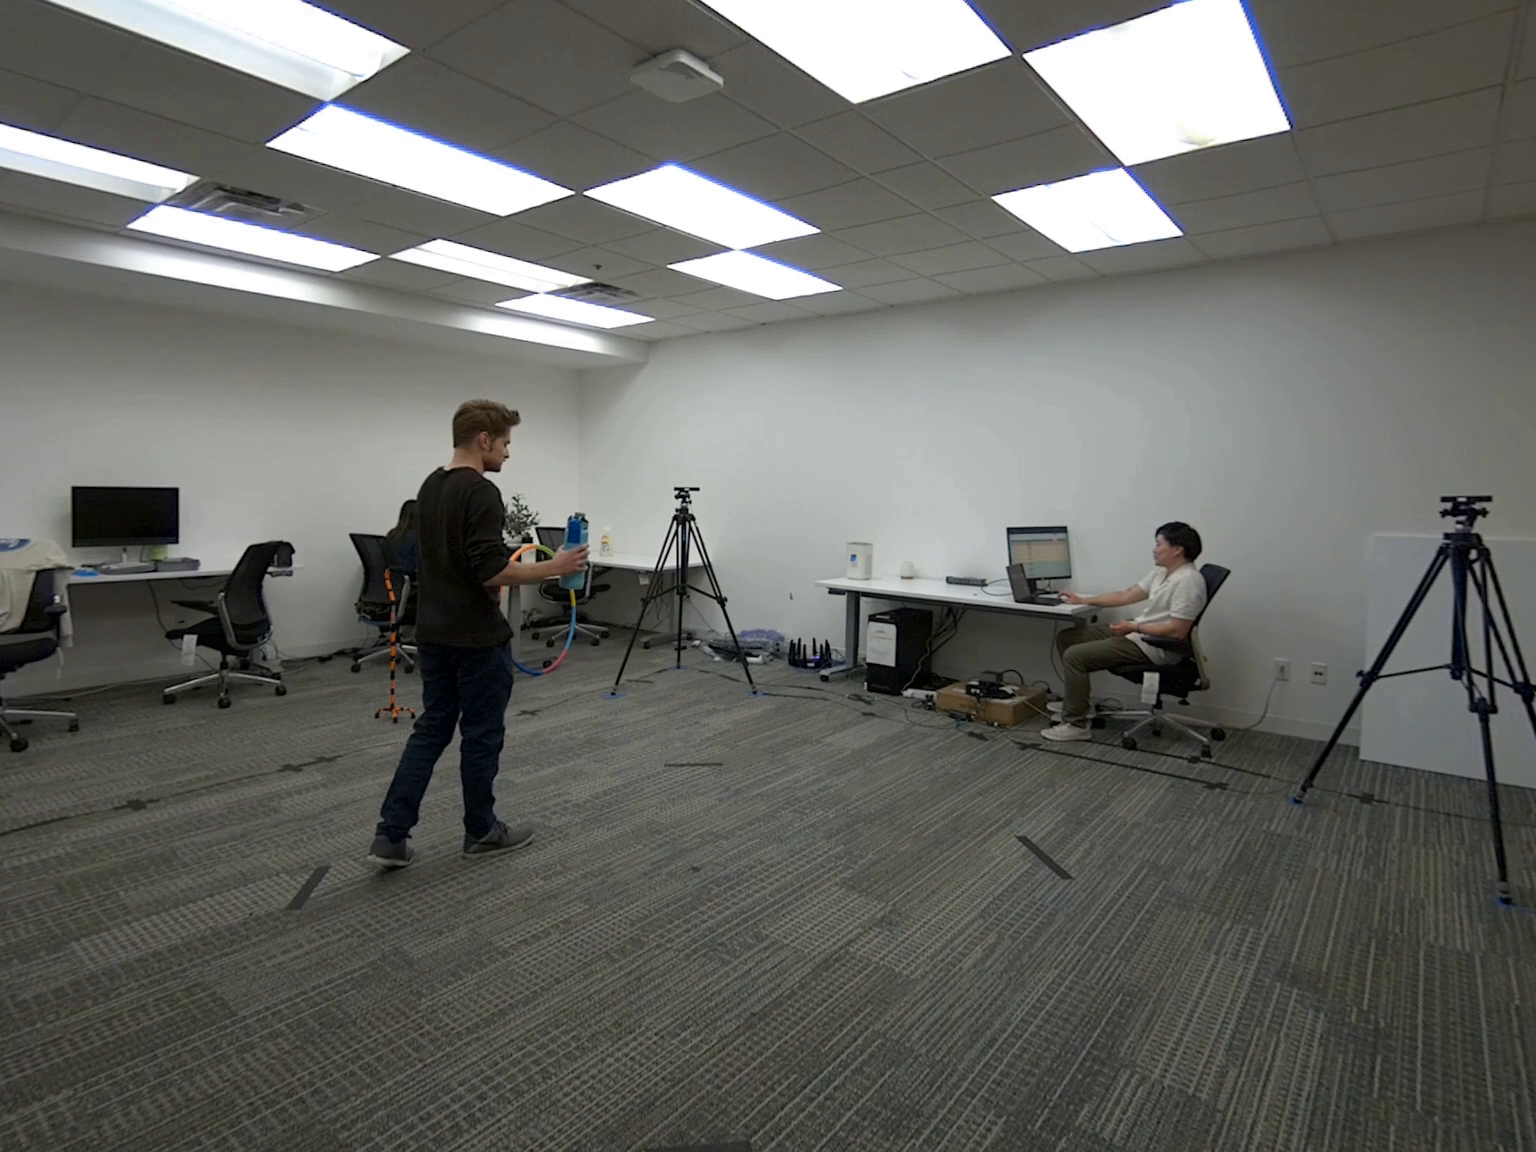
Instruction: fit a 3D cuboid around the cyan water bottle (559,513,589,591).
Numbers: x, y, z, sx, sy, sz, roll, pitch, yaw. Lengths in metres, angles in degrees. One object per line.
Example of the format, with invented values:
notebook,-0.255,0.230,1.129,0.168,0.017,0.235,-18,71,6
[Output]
cyan water bottle,-0.748,-0.102,3.193,0.092,0.281,0.093,9,10,-4
